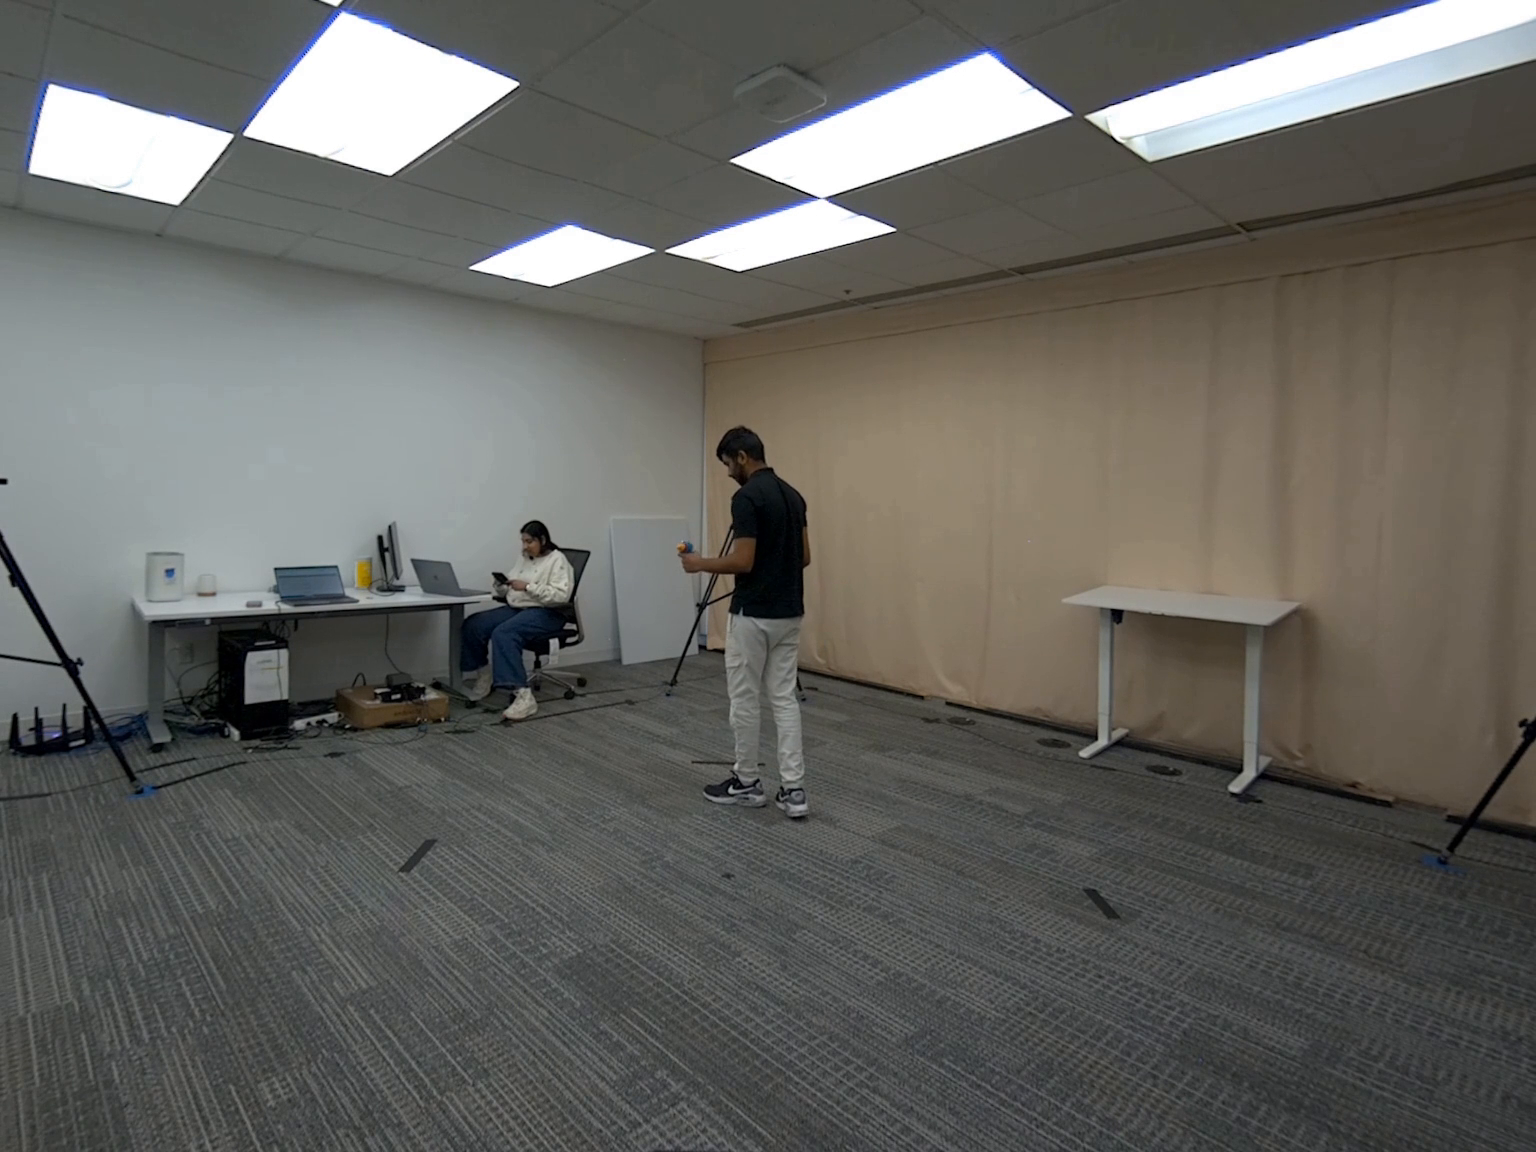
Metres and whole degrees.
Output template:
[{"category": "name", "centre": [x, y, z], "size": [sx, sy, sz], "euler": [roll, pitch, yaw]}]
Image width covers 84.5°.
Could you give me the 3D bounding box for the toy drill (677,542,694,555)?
[{"category": "toy drill", "centre": [-0.363, -0.099, 3.820], "size": [0.061, 0.147, 0.168], "euler": [-39, -8, 9]}]
